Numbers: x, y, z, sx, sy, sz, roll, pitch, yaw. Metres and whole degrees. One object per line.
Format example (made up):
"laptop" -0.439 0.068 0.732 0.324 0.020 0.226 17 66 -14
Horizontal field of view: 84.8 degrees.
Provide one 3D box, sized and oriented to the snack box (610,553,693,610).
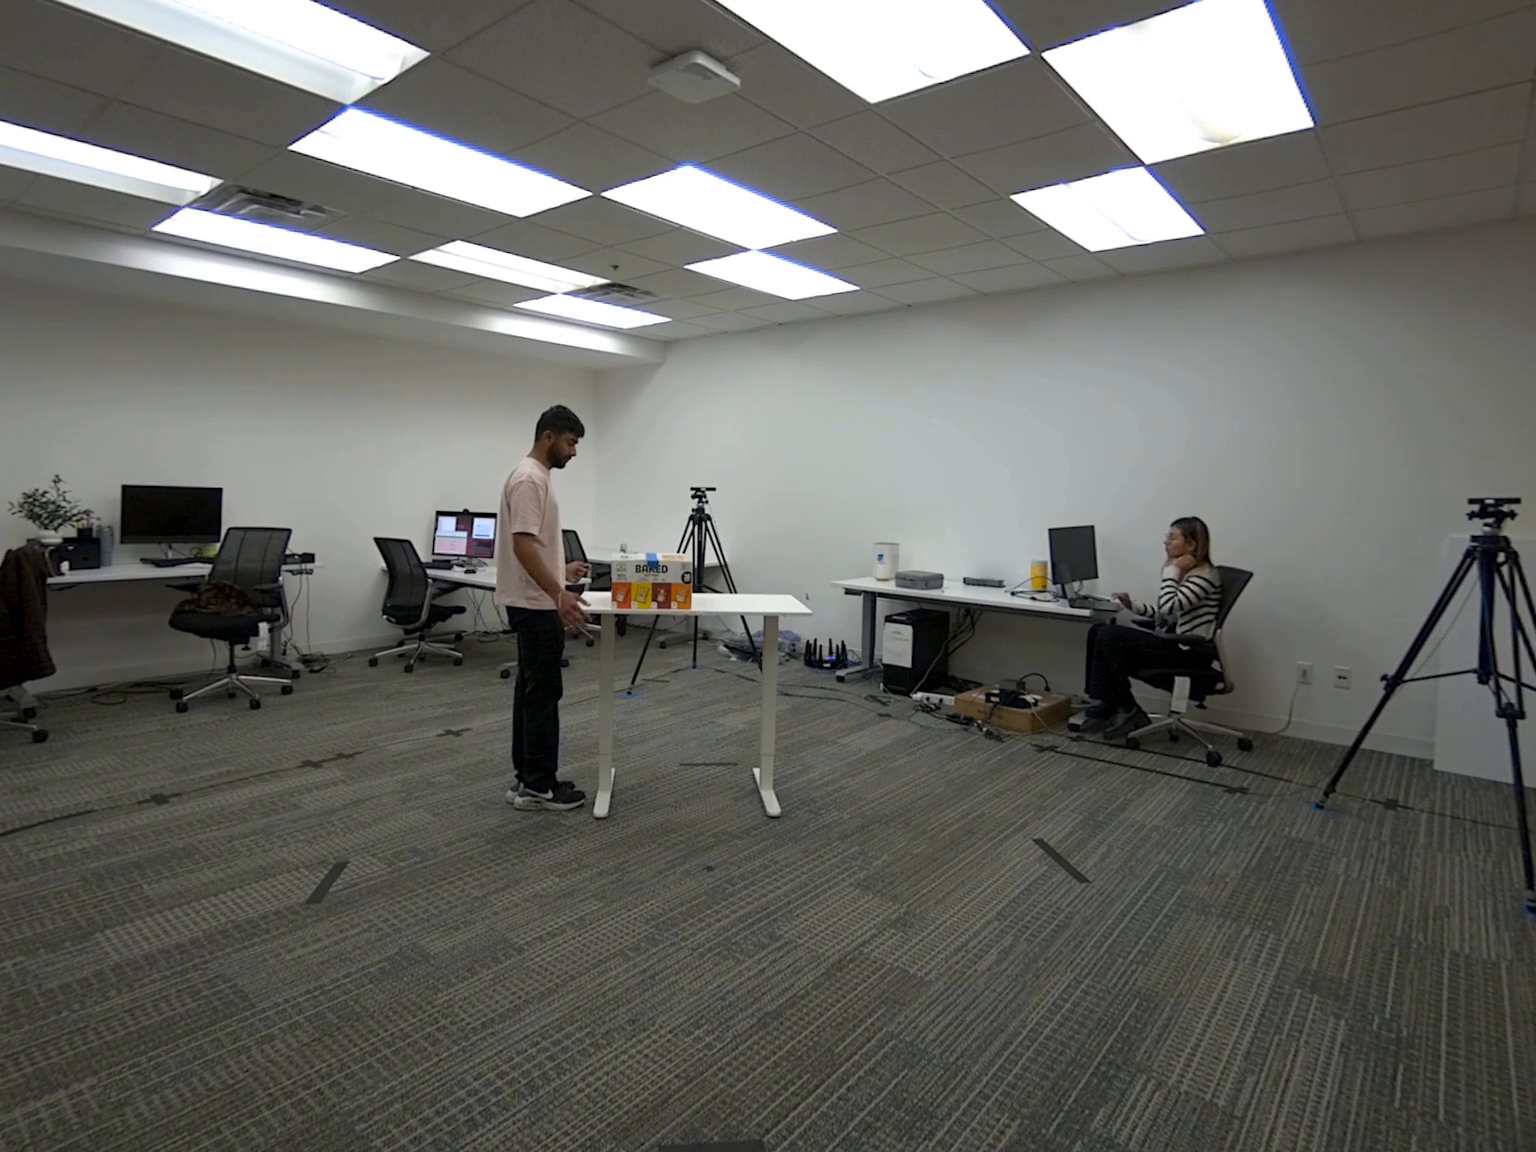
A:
"snack box" -0.533 0.015 3.751 0.337 0.205 0.410 1 5 -9
